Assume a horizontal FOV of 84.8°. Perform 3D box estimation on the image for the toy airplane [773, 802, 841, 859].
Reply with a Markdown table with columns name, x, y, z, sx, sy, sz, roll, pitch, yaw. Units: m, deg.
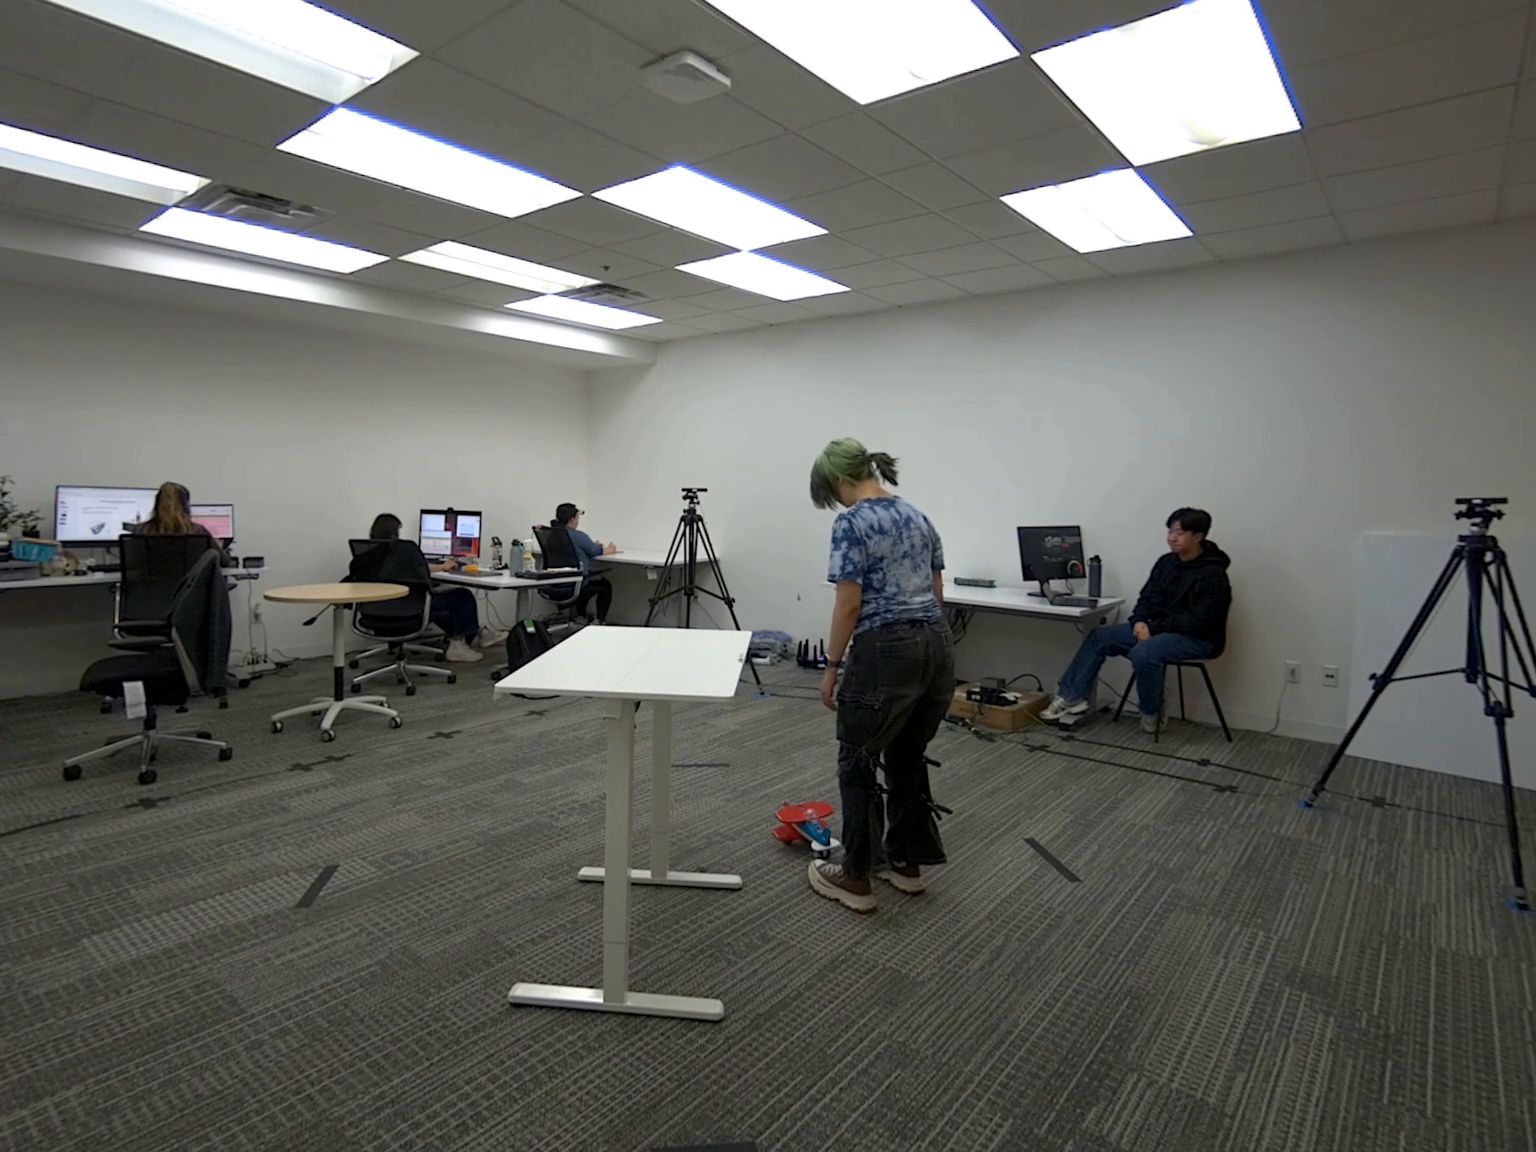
| name | x | y | z | sx | sy | sz | roll | pitch | yaw |
| --- | --- | --- | --- | --- | --- | --- | --- | --- | --- |
| toy airplane | 0.158 | 0.981 | 3.312 | 0.267 | 0.156 | 0.245 | 3 | 4 | 29 |
